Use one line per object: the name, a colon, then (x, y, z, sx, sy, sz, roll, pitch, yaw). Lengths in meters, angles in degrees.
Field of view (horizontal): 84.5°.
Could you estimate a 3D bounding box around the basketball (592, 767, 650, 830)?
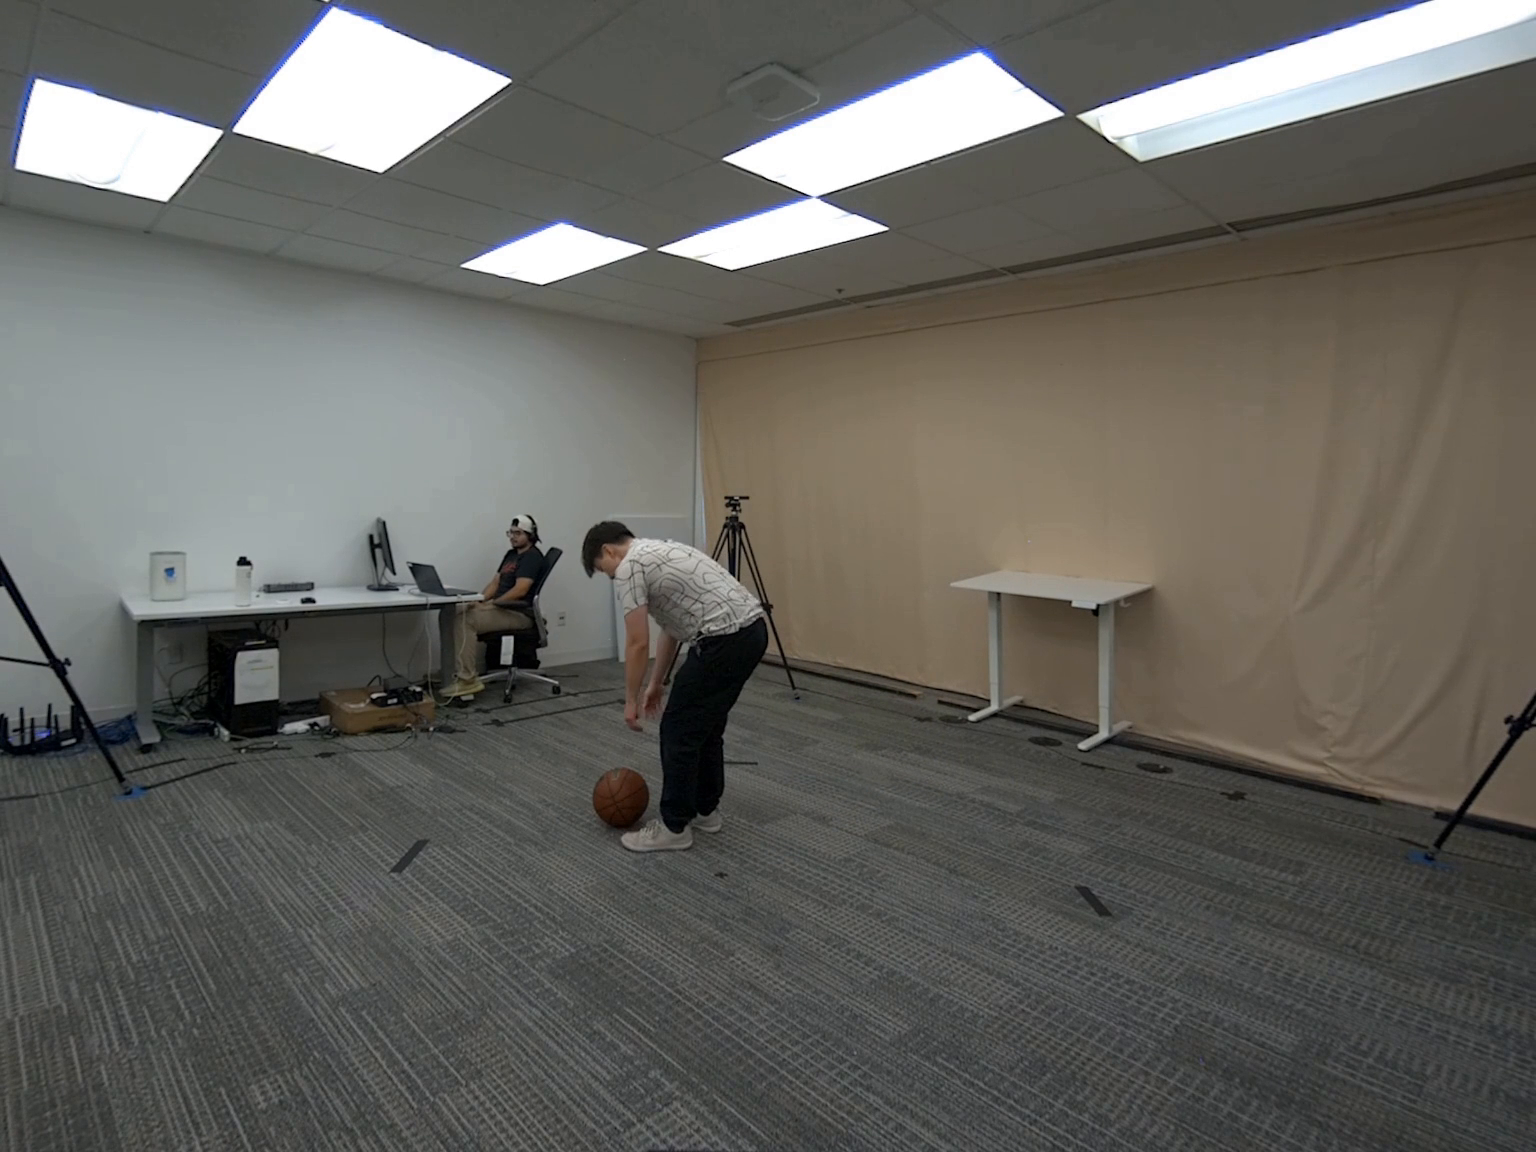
basketball: (-0.627, 0.930, 3.550, 0.236, 0.235, 0.237, 1, 4, -1)
